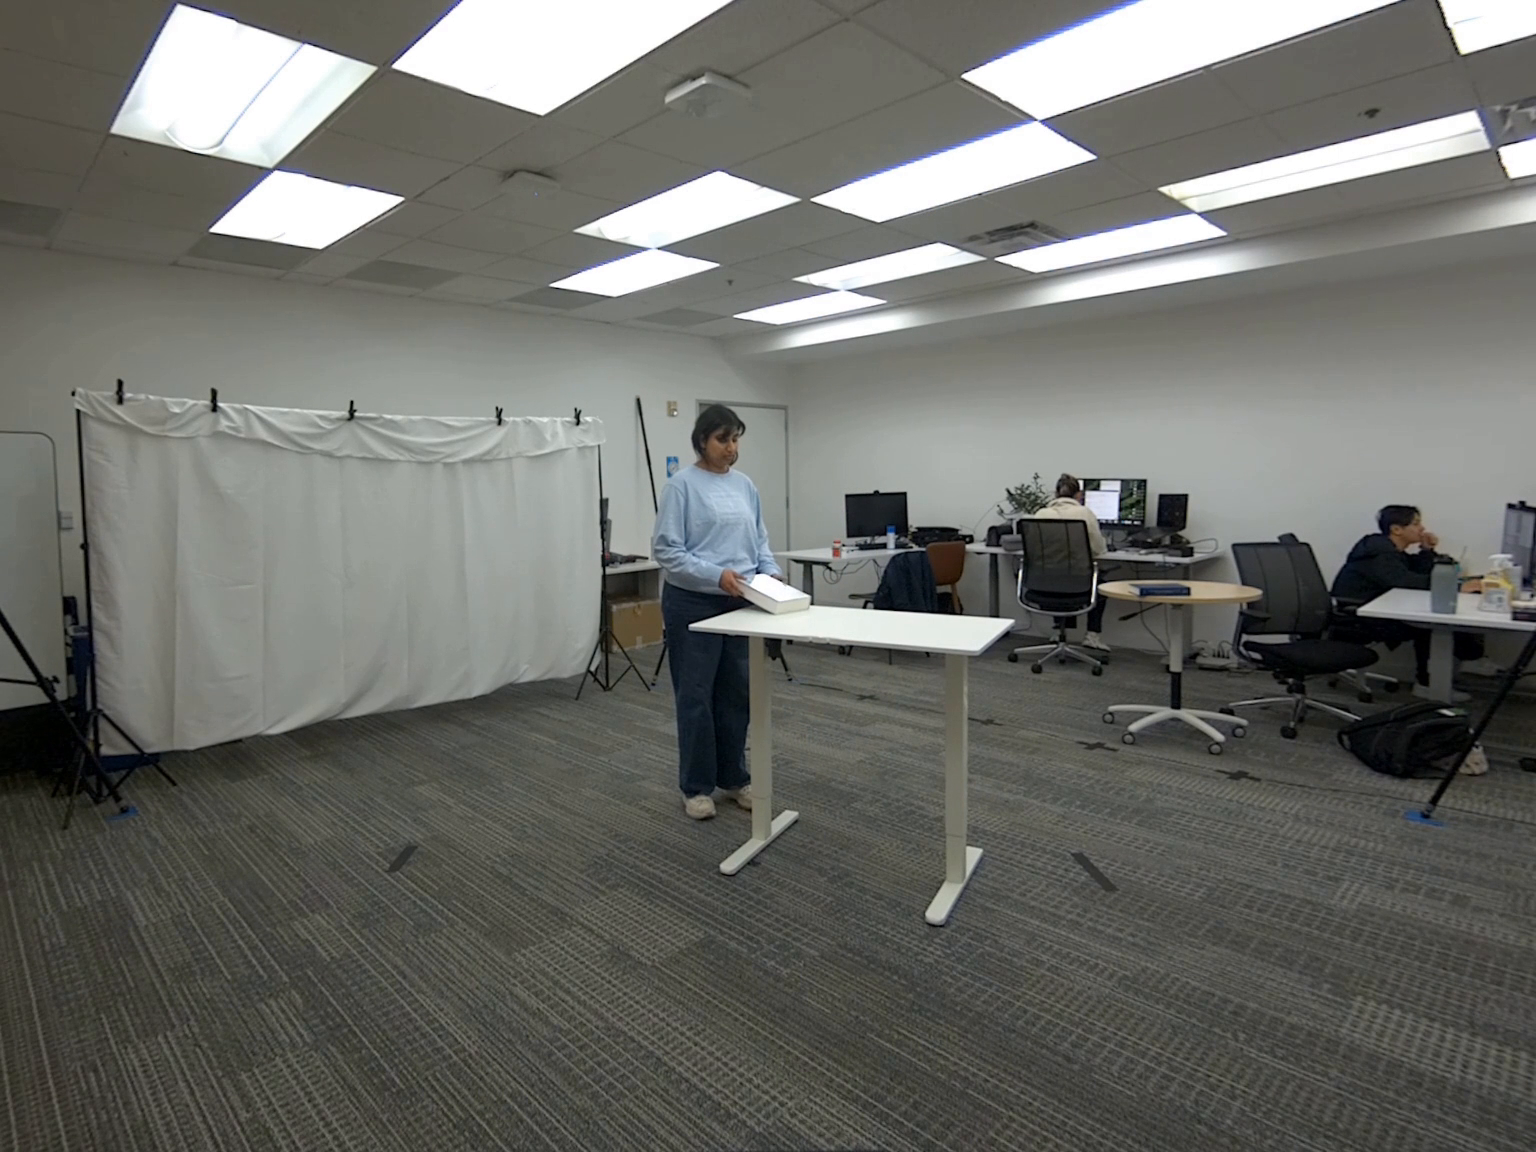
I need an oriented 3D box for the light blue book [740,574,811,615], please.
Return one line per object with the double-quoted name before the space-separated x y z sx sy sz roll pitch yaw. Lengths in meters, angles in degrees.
"light blue book" 0.014 0.073 3.353 0.186 0.058 0.271 -5 22 -42
